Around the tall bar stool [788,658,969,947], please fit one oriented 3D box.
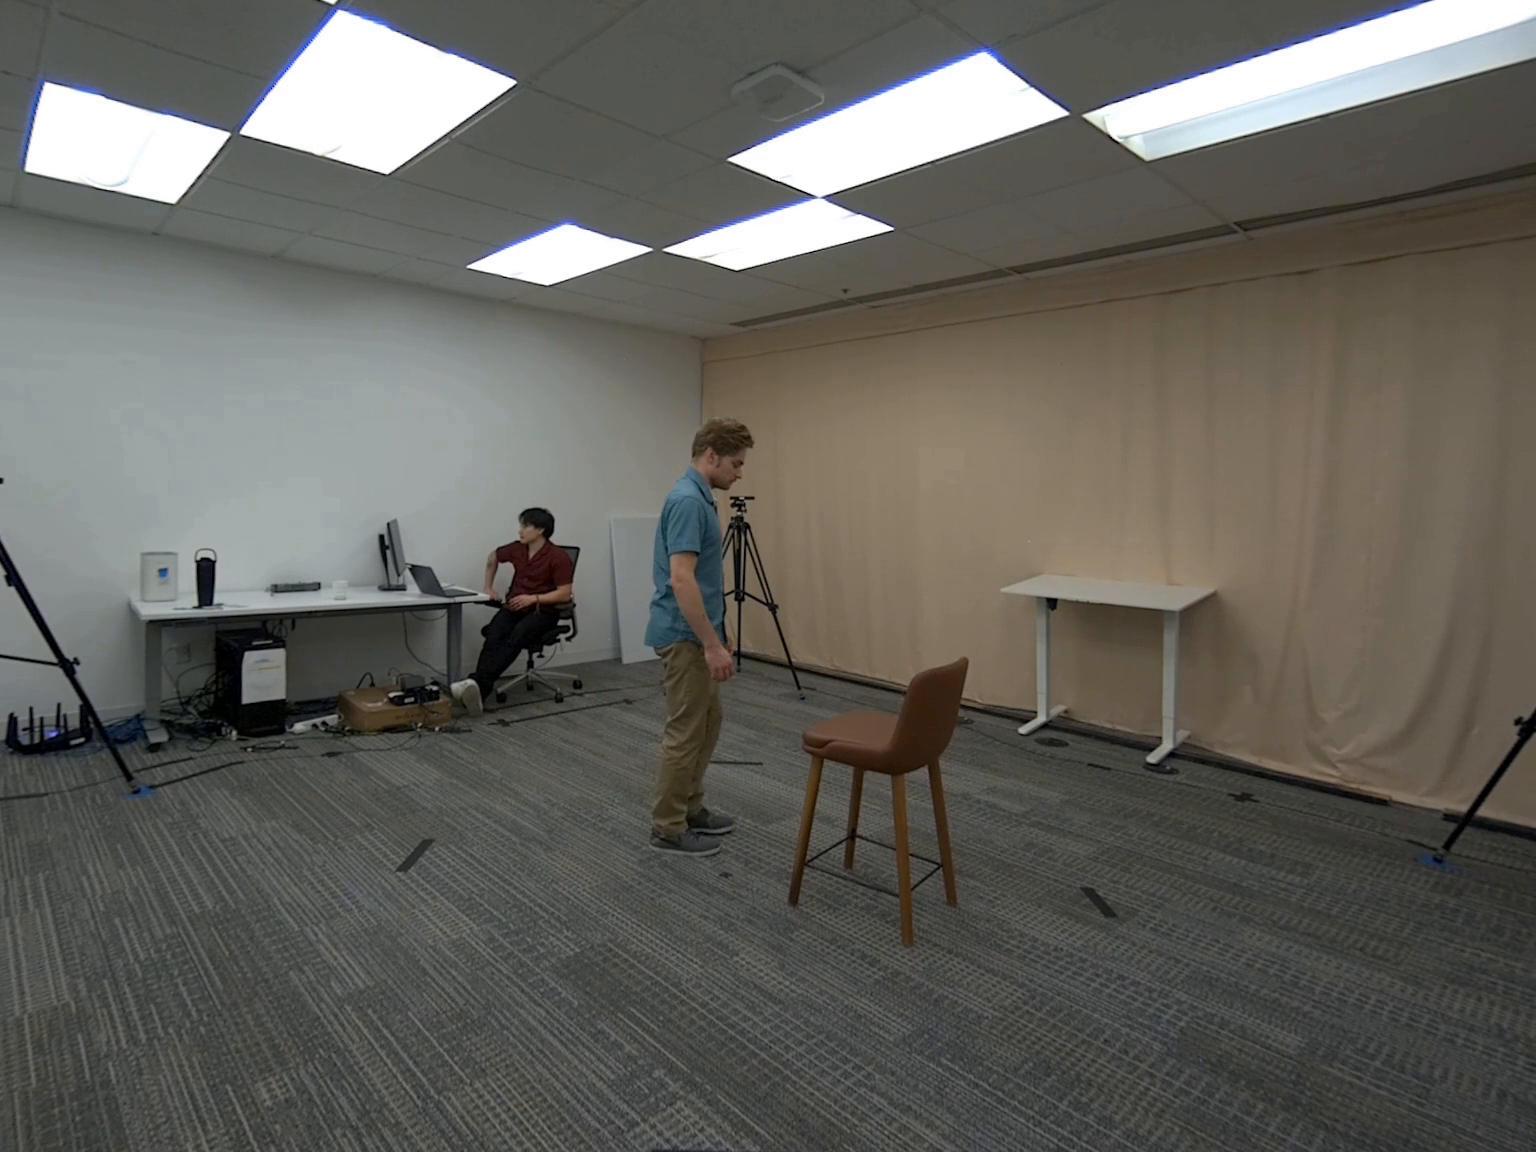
[{"bbox_3d":[0.373,0.701,2.877,0.479,0.886,0.447,7,6,36],"label":"tall bar stool"}]
